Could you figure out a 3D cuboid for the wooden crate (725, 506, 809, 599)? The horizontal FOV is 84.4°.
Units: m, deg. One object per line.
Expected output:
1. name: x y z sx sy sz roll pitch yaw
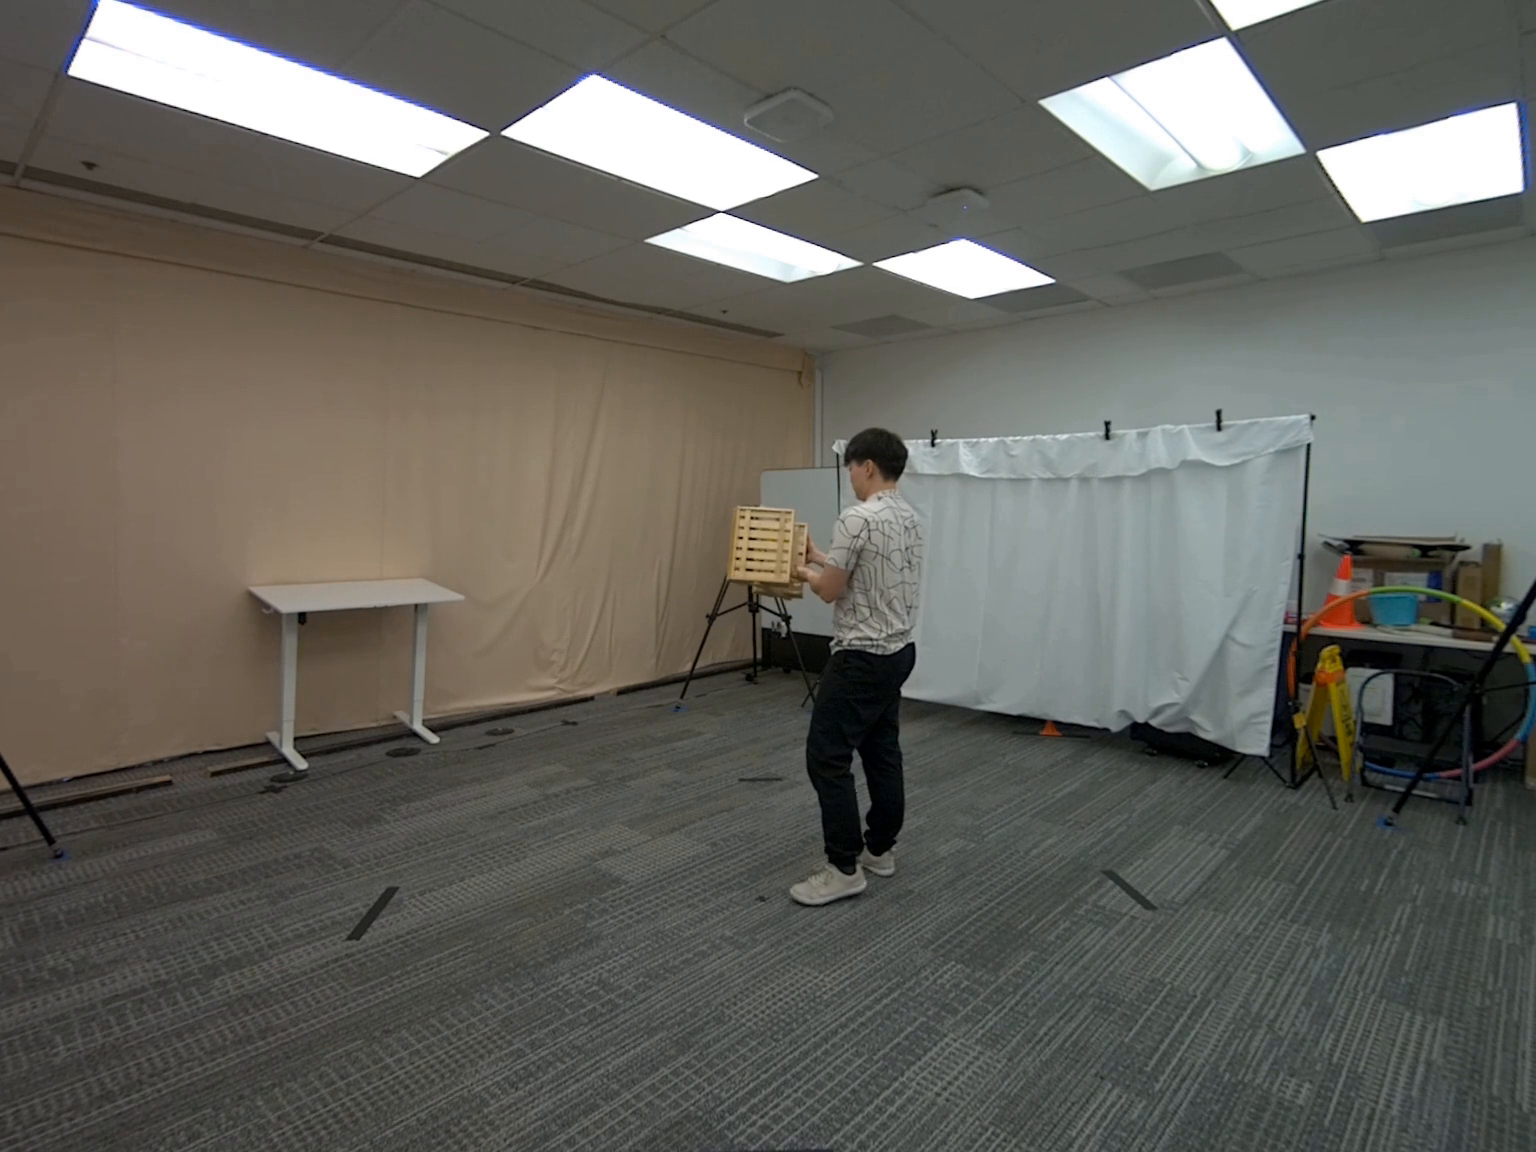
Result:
1. wooden crate: 0.009 -0.088 3.446 0.305 0.327 0.269 4 -15 7
